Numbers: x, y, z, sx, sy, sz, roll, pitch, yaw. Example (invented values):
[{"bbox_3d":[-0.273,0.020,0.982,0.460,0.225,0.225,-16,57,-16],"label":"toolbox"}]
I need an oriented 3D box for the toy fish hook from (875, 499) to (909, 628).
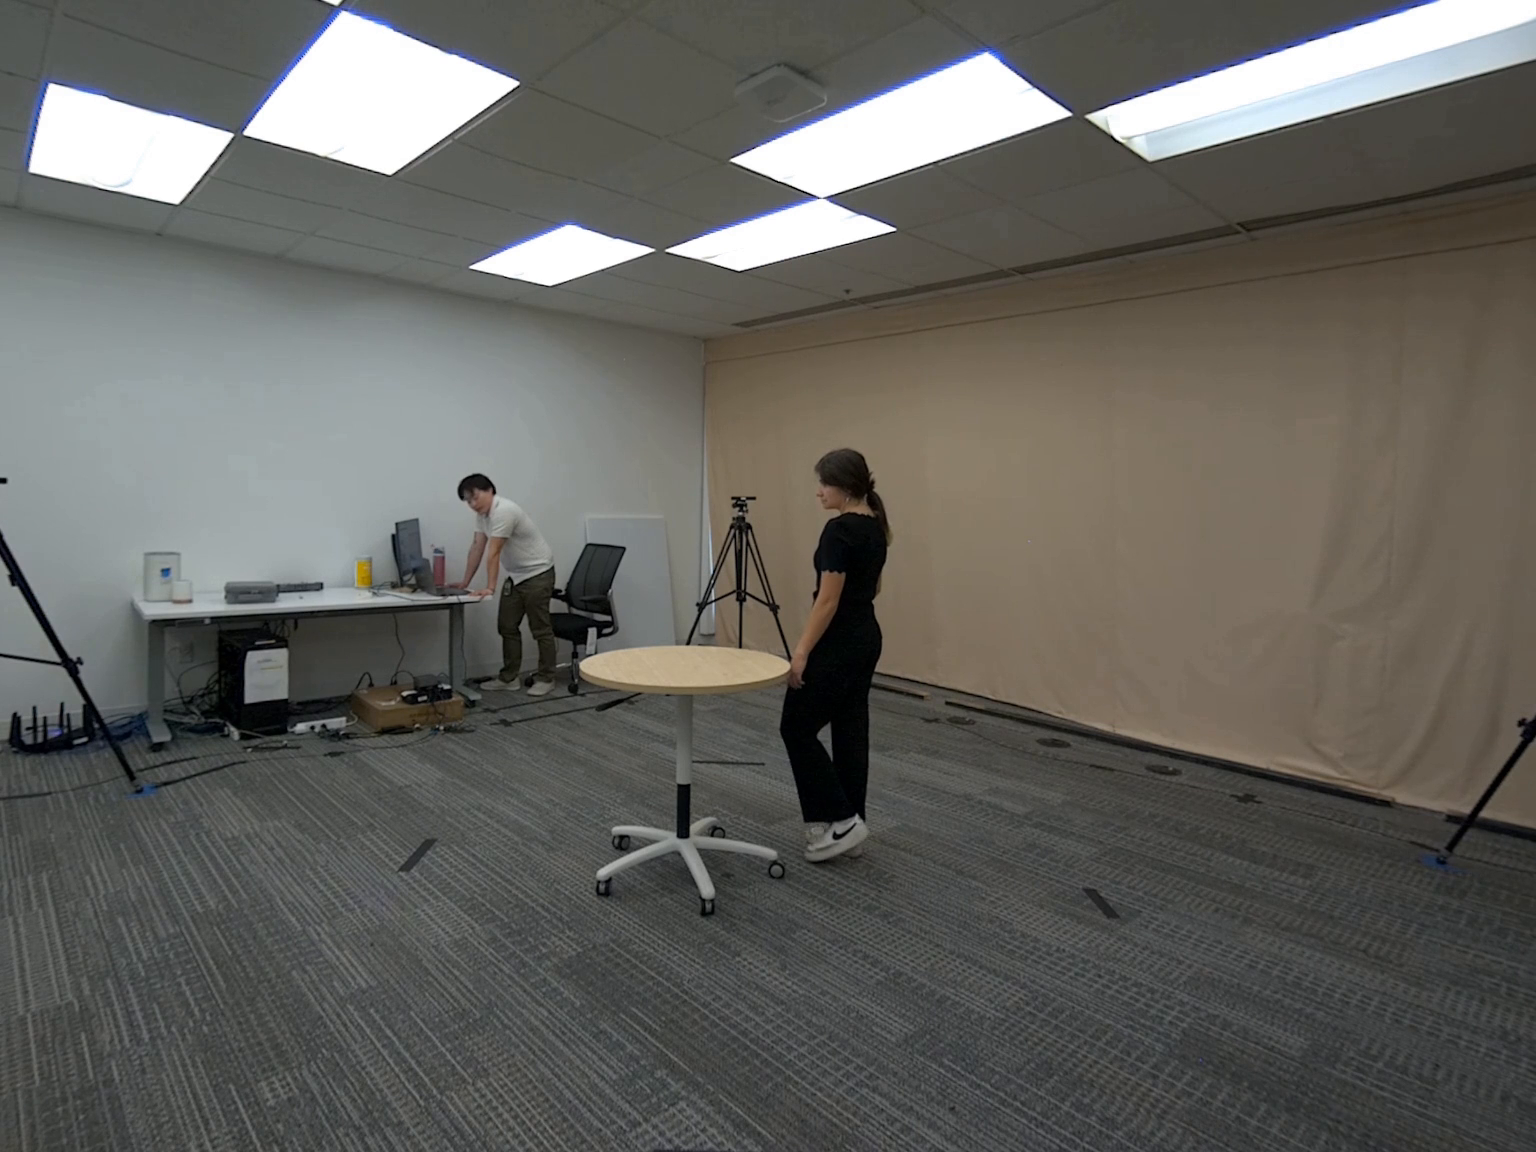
[{"bbox_3d":[0.421,-0.048,3.433,0.229,0.505,0.047,-6,4,31],"label":"toy fish hook"}]
